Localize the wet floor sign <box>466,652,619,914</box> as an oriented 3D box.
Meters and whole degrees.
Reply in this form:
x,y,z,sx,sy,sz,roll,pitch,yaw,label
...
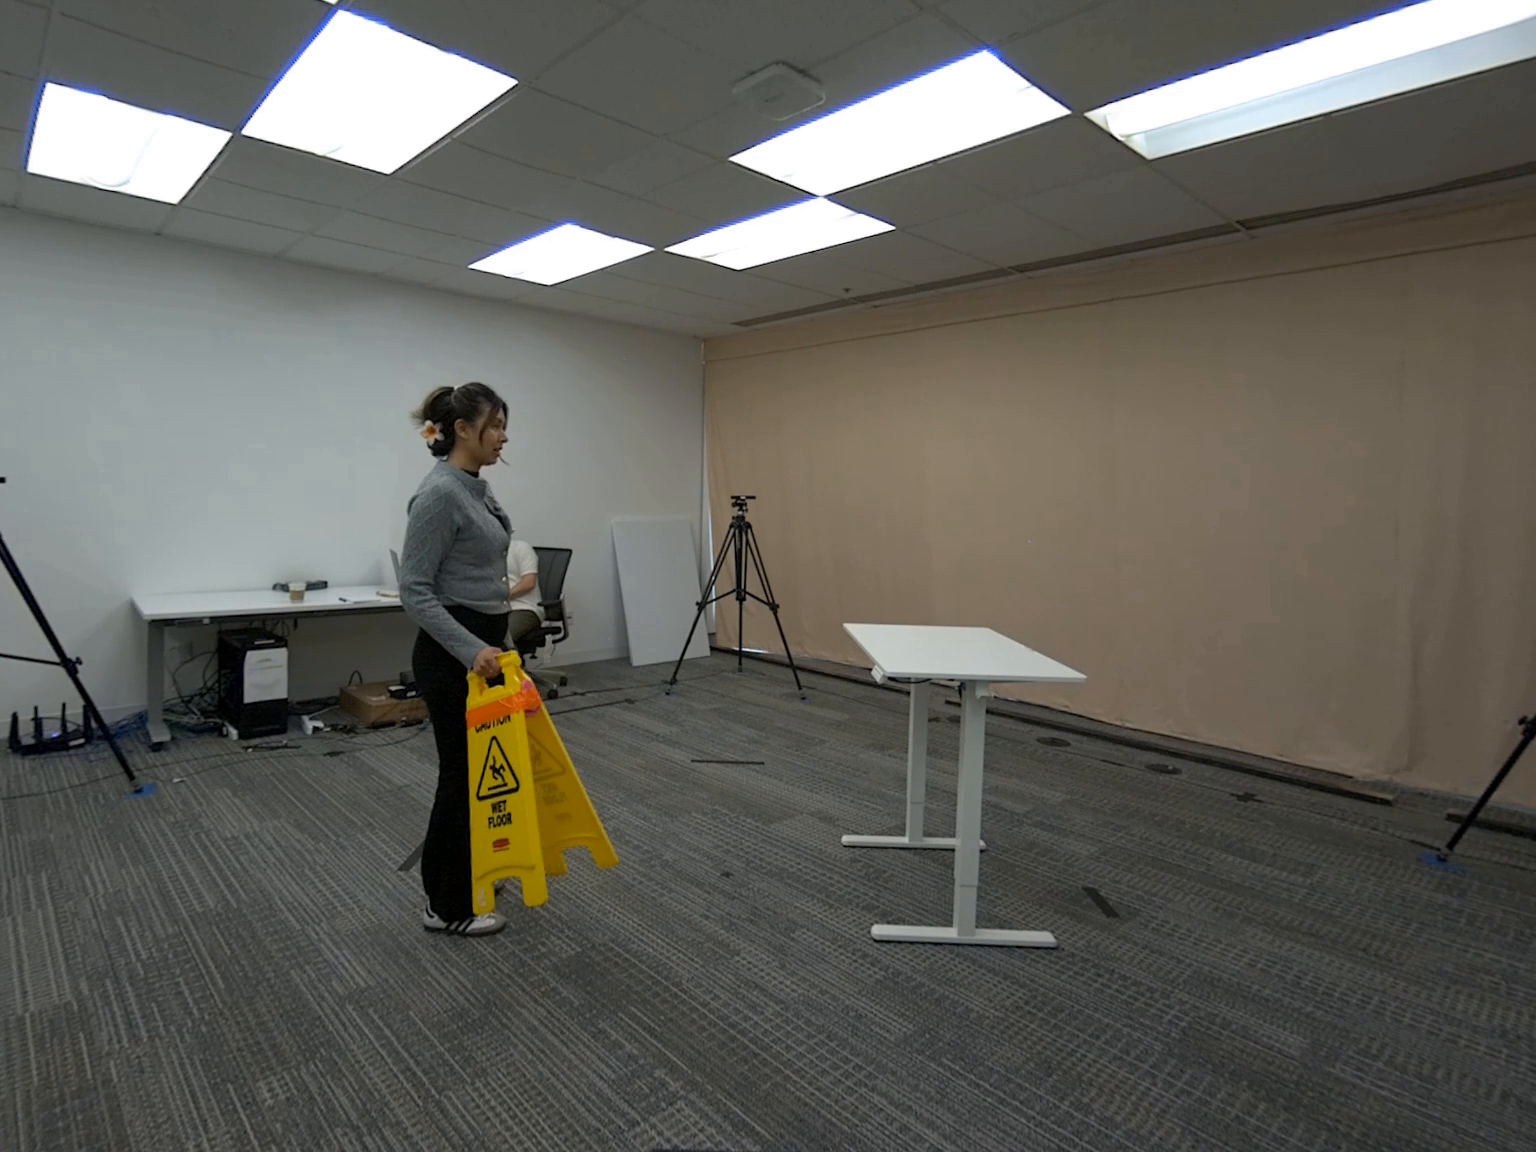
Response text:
x,y,z,sx,sy,sz,roll,pitch,yaw,label
-0.685,0.548,2.318,0.285,0.652,0.284,-22,-10,29,wet floor sign
